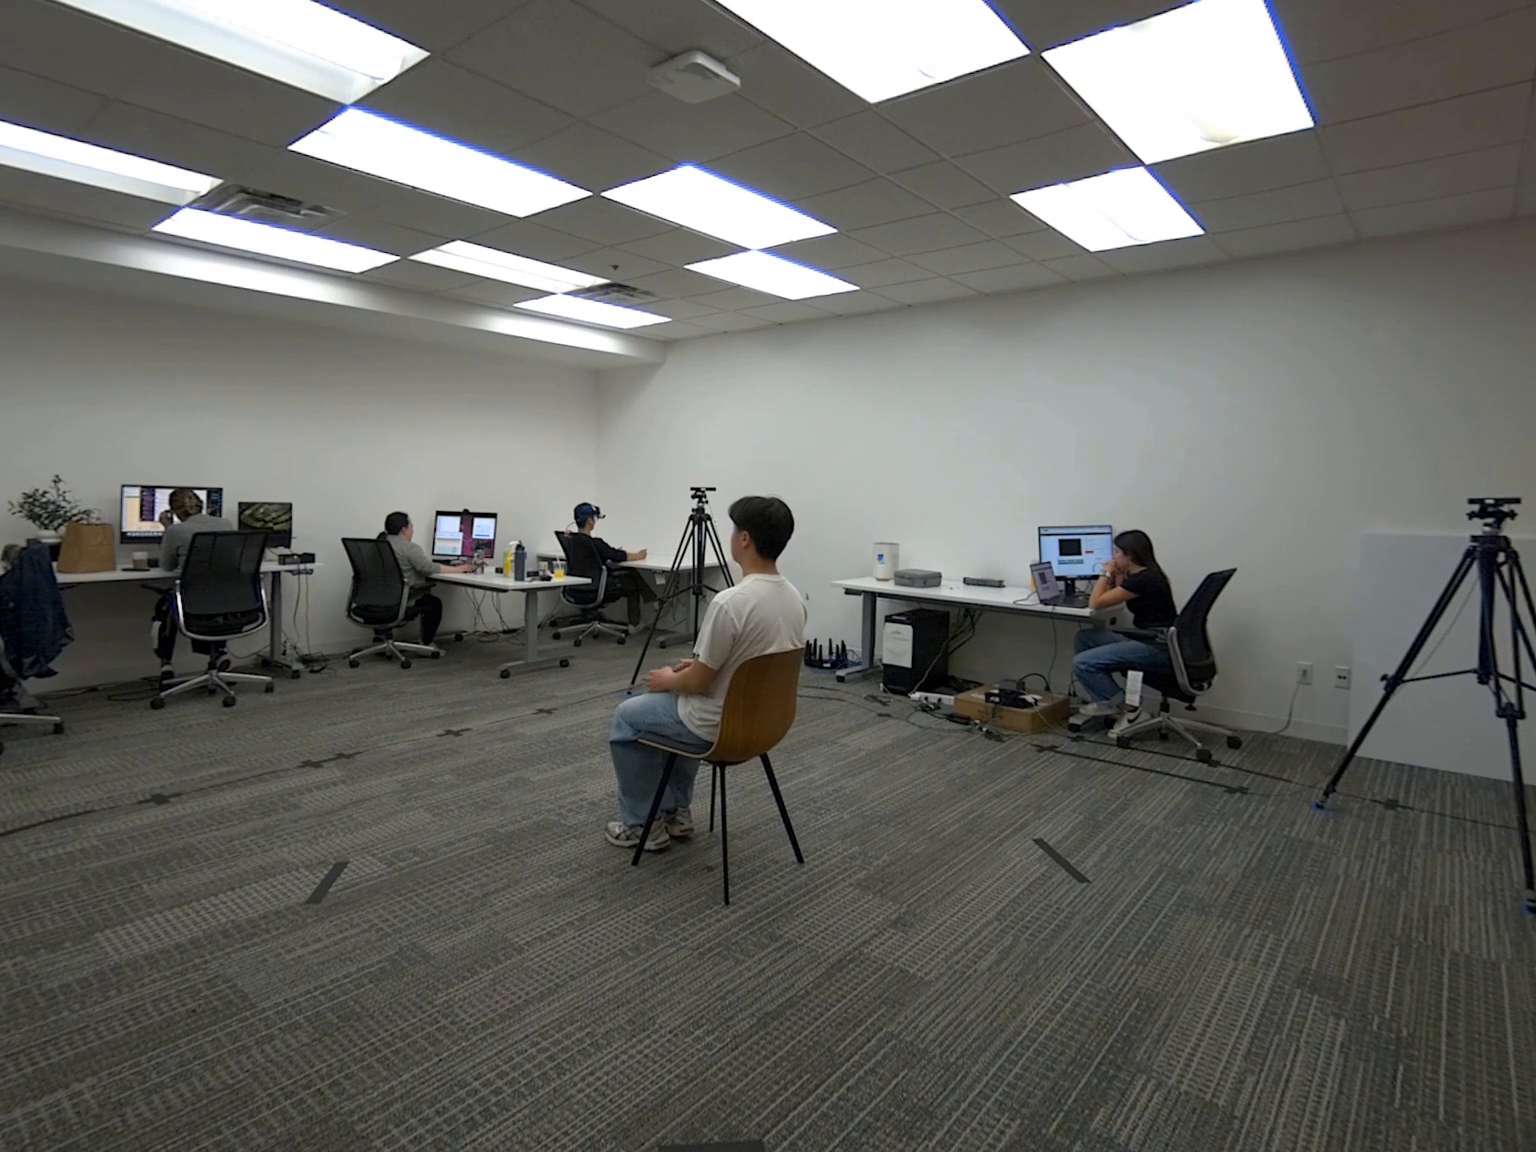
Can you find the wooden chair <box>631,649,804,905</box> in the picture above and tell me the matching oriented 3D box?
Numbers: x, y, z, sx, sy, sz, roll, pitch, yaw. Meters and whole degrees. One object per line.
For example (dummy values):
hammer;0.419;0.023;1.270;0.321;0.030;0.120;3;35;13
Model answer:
wooden chair;-0.181;0.639;3.120;0.542;0.873;0.463;10;7;38
